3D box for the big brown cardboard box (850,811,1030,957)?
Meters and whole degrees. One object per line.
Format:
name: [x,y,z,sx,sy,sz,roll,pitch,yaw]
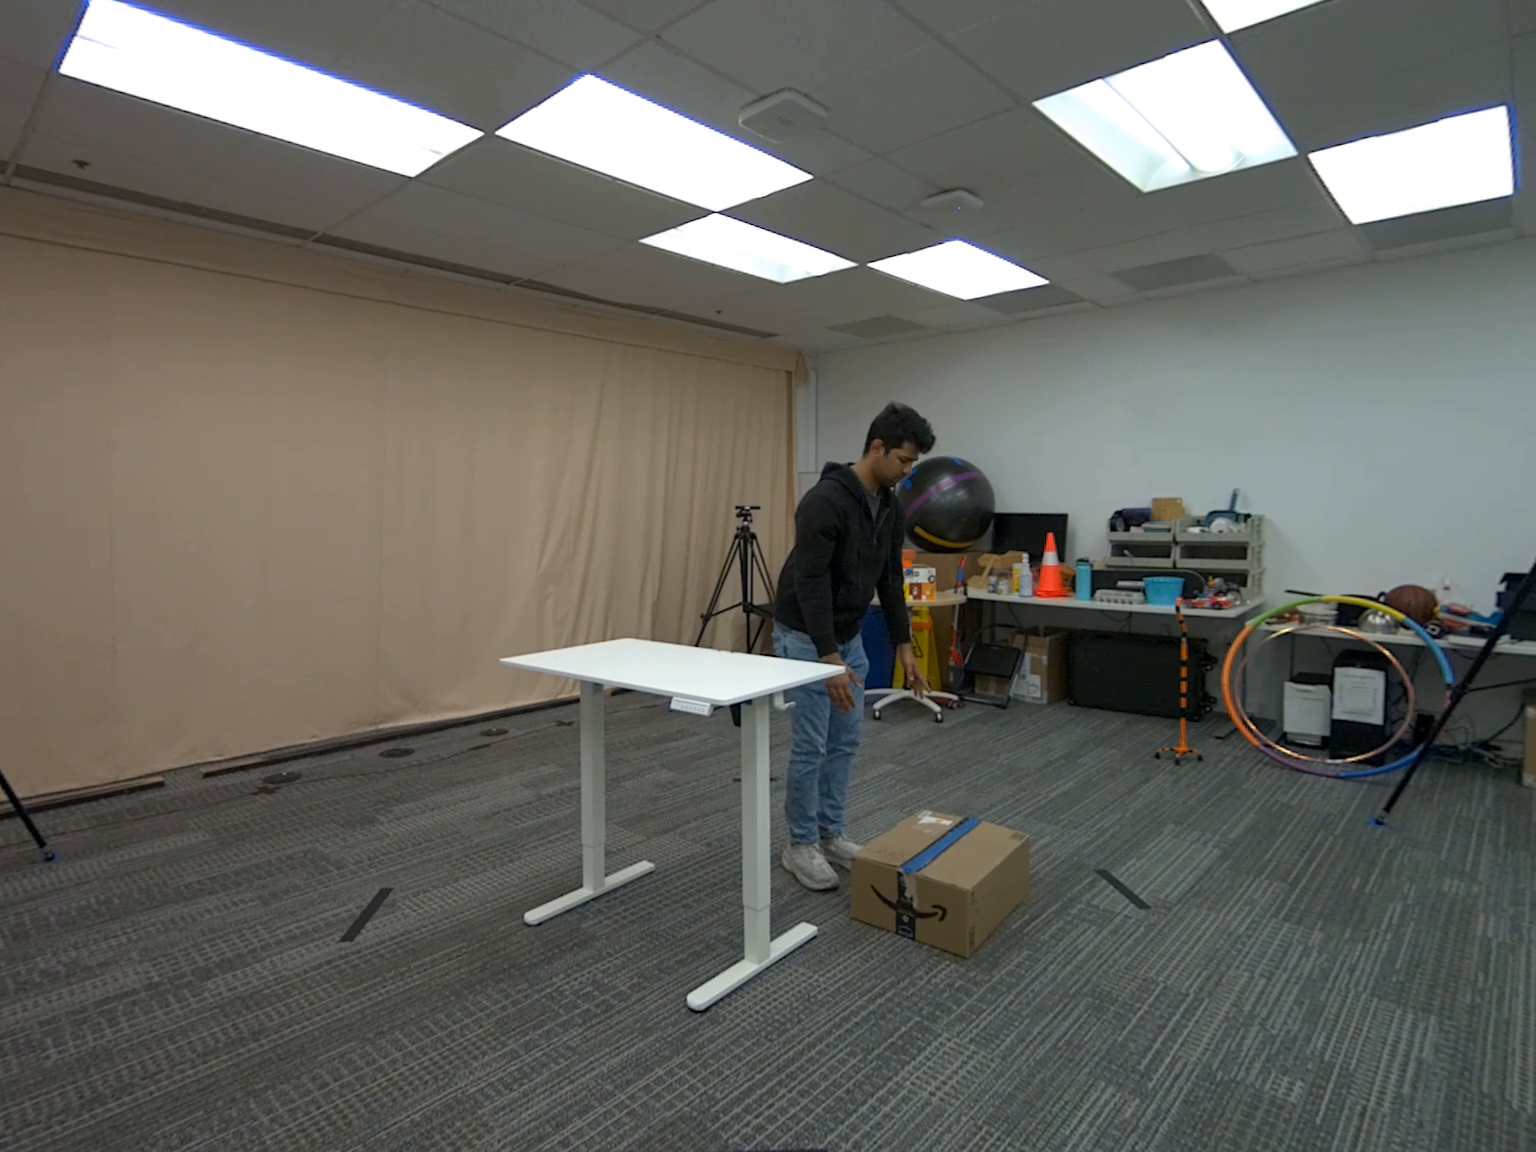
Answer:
big brown cardboard box: [0.617,1.038,2.923,0.431,0.232,0.572,3,6,36]
